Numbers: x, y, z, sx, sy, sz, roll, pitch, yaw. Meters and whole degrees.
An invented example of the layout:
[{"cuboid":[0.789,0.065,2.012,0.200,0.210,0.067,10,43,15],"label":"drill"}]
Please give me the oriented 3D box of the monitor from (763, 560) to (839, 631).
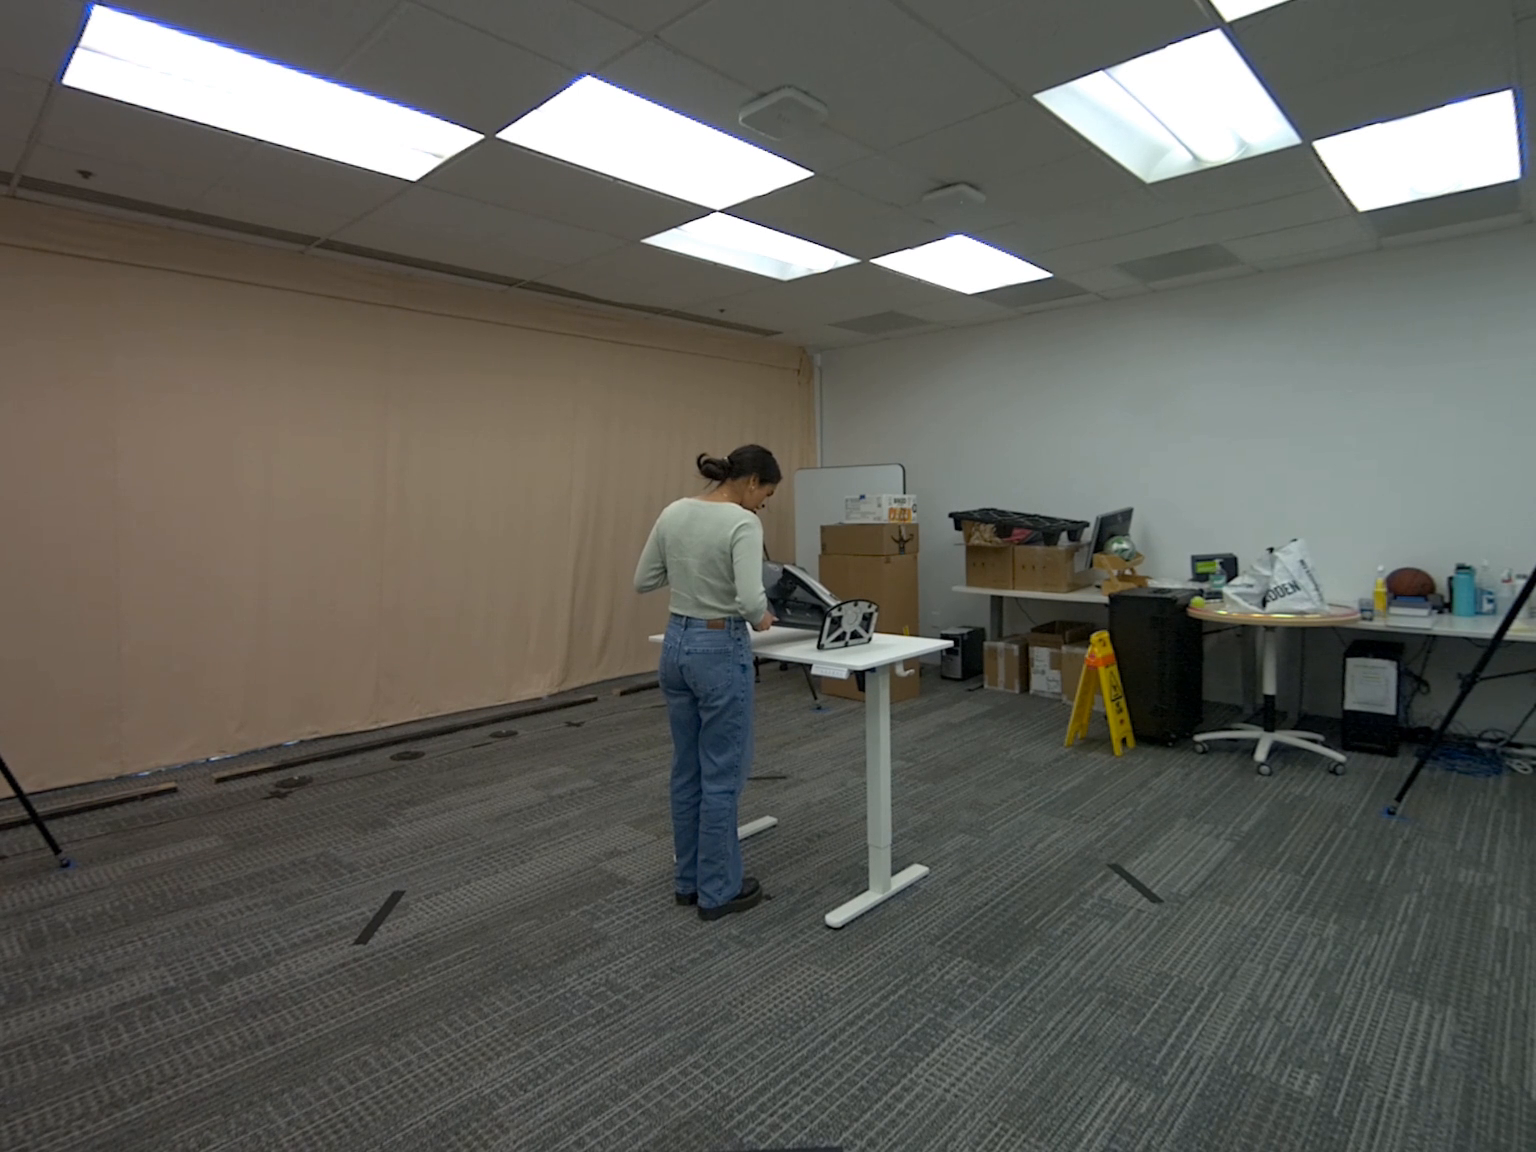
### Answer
[{"cuboid":[0.177,0.072,3.128,0.542,0.187,0.520,32,12,40],"label":"monitor"}]
